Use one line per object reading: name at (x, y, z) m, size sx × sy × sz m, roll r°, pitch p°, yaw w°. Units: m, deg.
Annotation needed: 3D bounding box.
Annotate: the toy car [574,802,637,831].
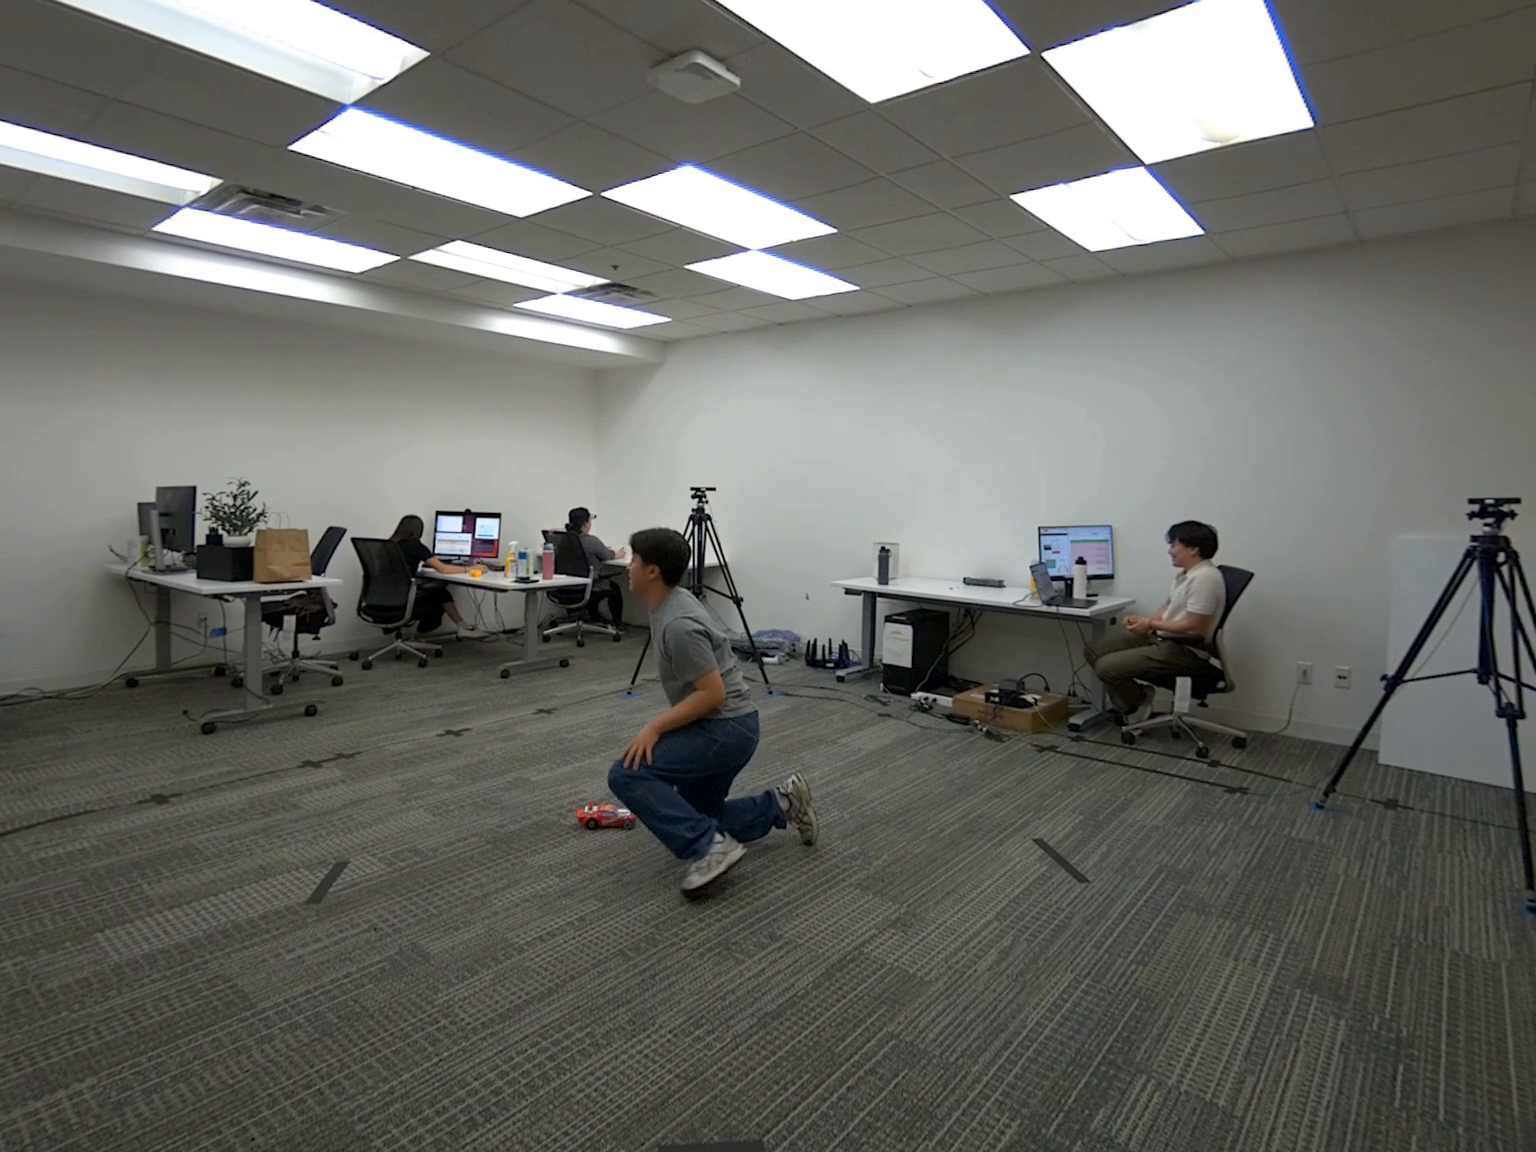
toy car at (-0.686, 0.989, 3.505) m, size 0.252 × 0.083 × 0.132 m, roll 11°, pitch 4°, yaw -7°
